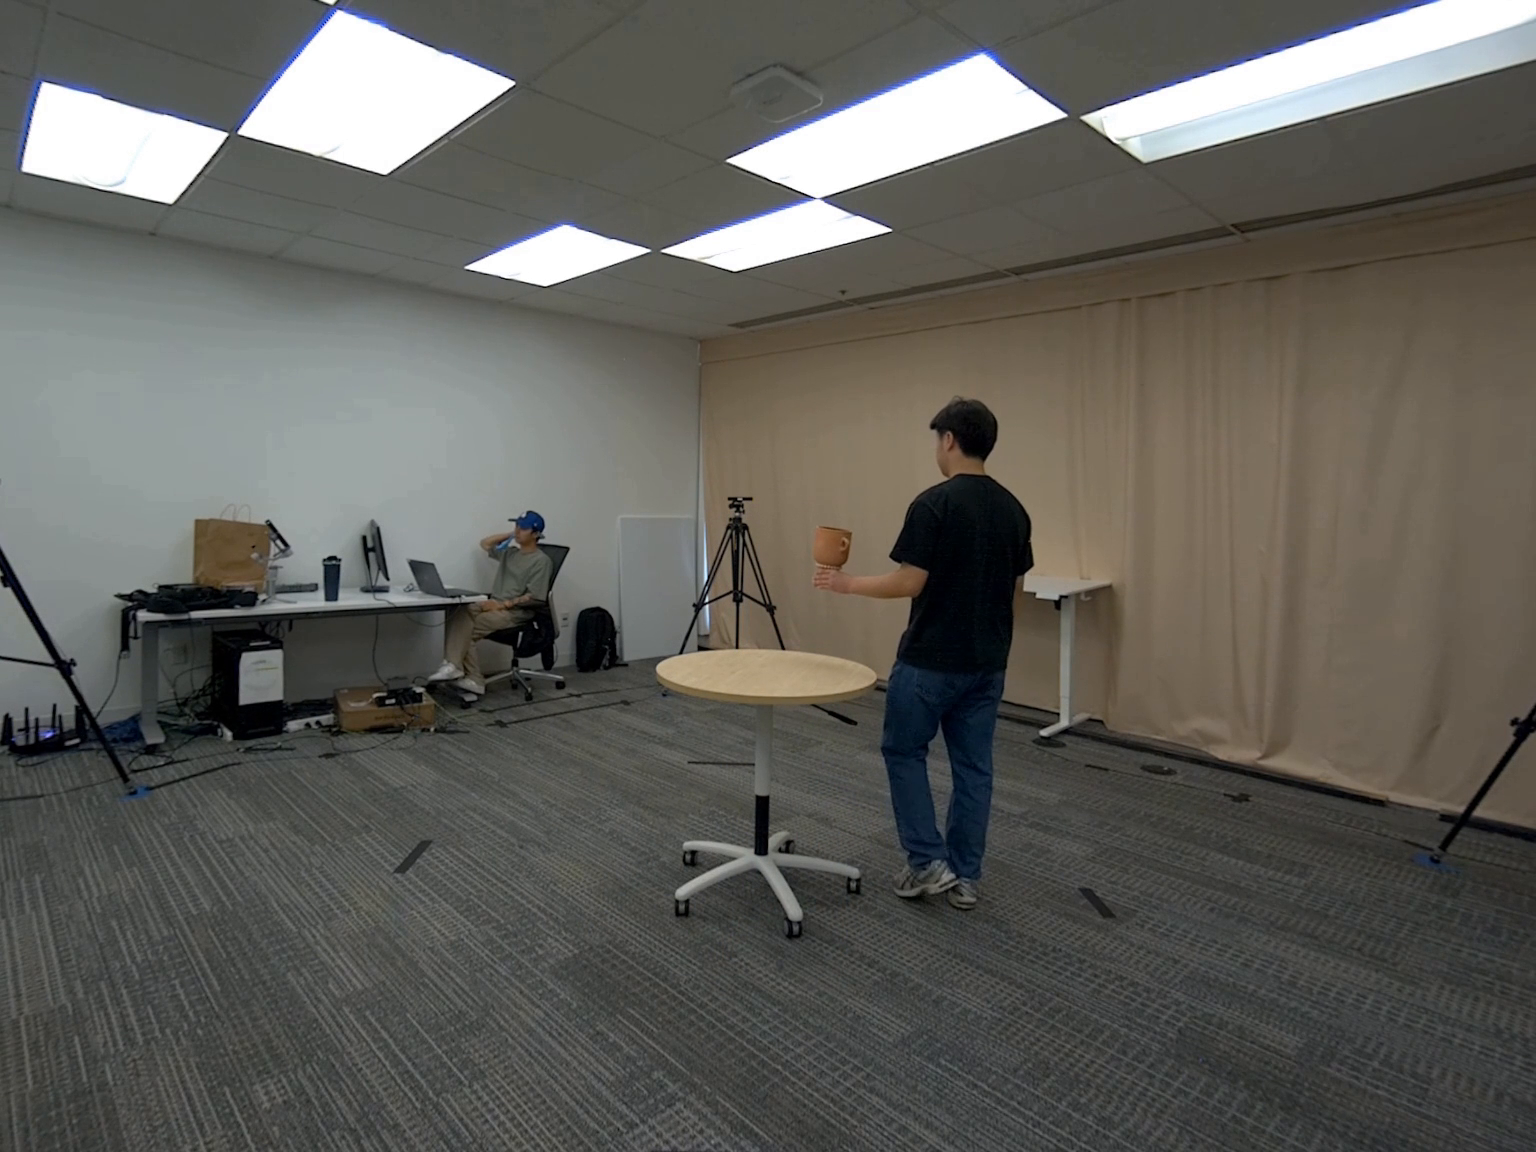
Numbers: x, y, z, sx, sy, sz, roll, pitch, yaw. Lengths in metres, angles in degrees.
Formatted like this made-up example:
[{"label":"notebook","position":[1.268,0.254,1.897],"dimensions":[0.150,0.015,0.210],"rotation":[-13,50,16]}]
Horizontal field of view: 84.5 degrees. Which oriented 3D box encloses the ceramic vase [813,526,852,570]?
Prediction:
[{"label":"ceramic vase","position":[0.223,-0.065,3.087],"dimensions":[0.136,0.219,0.157],"rotation":[7,2,11]}]
